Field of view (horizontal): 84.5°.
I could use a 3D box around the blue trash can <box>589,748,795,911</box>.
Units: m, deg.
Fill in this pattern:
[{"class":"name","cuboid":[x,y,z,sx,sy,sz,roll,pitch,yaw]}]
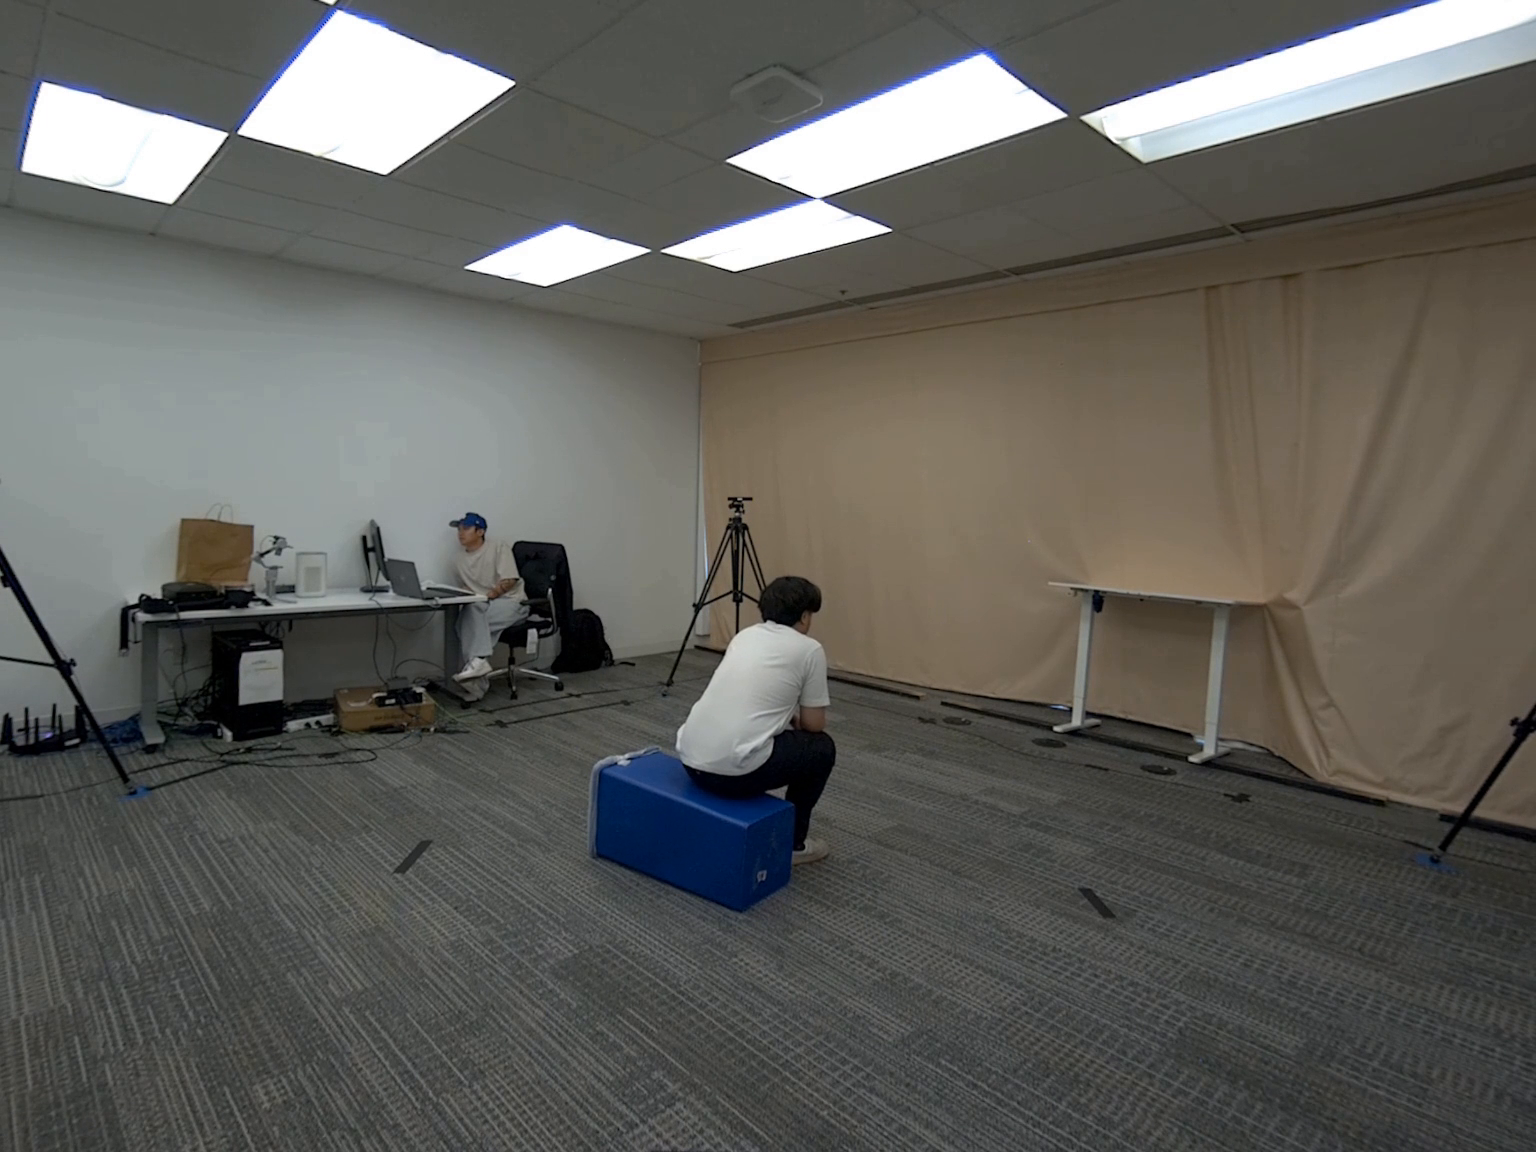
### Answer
[{"class":"blue trash can","cuboid":[-0.296,0.936,3.141,0.732,0.373,0.369,9,6,37]}]
